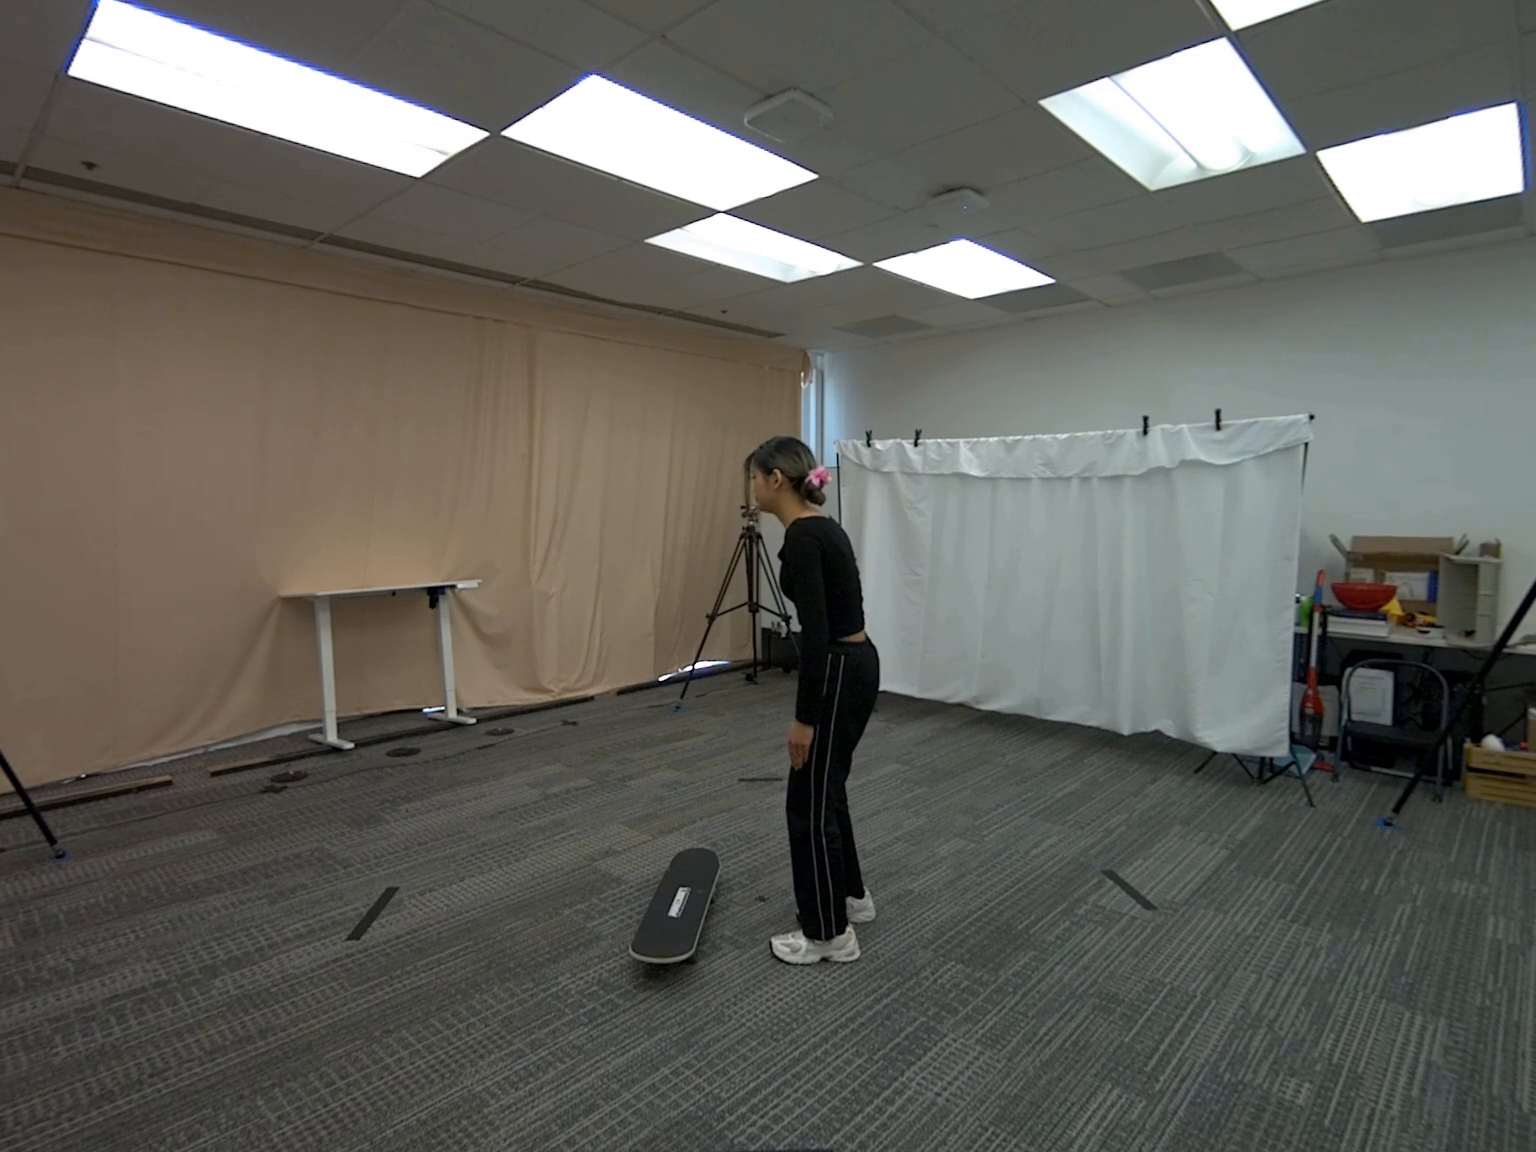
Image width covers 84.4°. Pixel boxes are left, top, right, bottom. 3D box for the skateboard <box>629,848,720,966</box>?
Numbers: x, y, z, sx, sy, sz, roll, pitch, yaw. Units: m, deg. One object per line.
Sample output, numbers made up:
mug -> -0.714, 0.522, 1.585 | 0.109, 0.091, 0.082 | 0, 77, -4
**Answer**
skateboard -> -0.289, 1.101, 2.783 | 0.195, 0.110, 0.781 | 0, 4, 5
